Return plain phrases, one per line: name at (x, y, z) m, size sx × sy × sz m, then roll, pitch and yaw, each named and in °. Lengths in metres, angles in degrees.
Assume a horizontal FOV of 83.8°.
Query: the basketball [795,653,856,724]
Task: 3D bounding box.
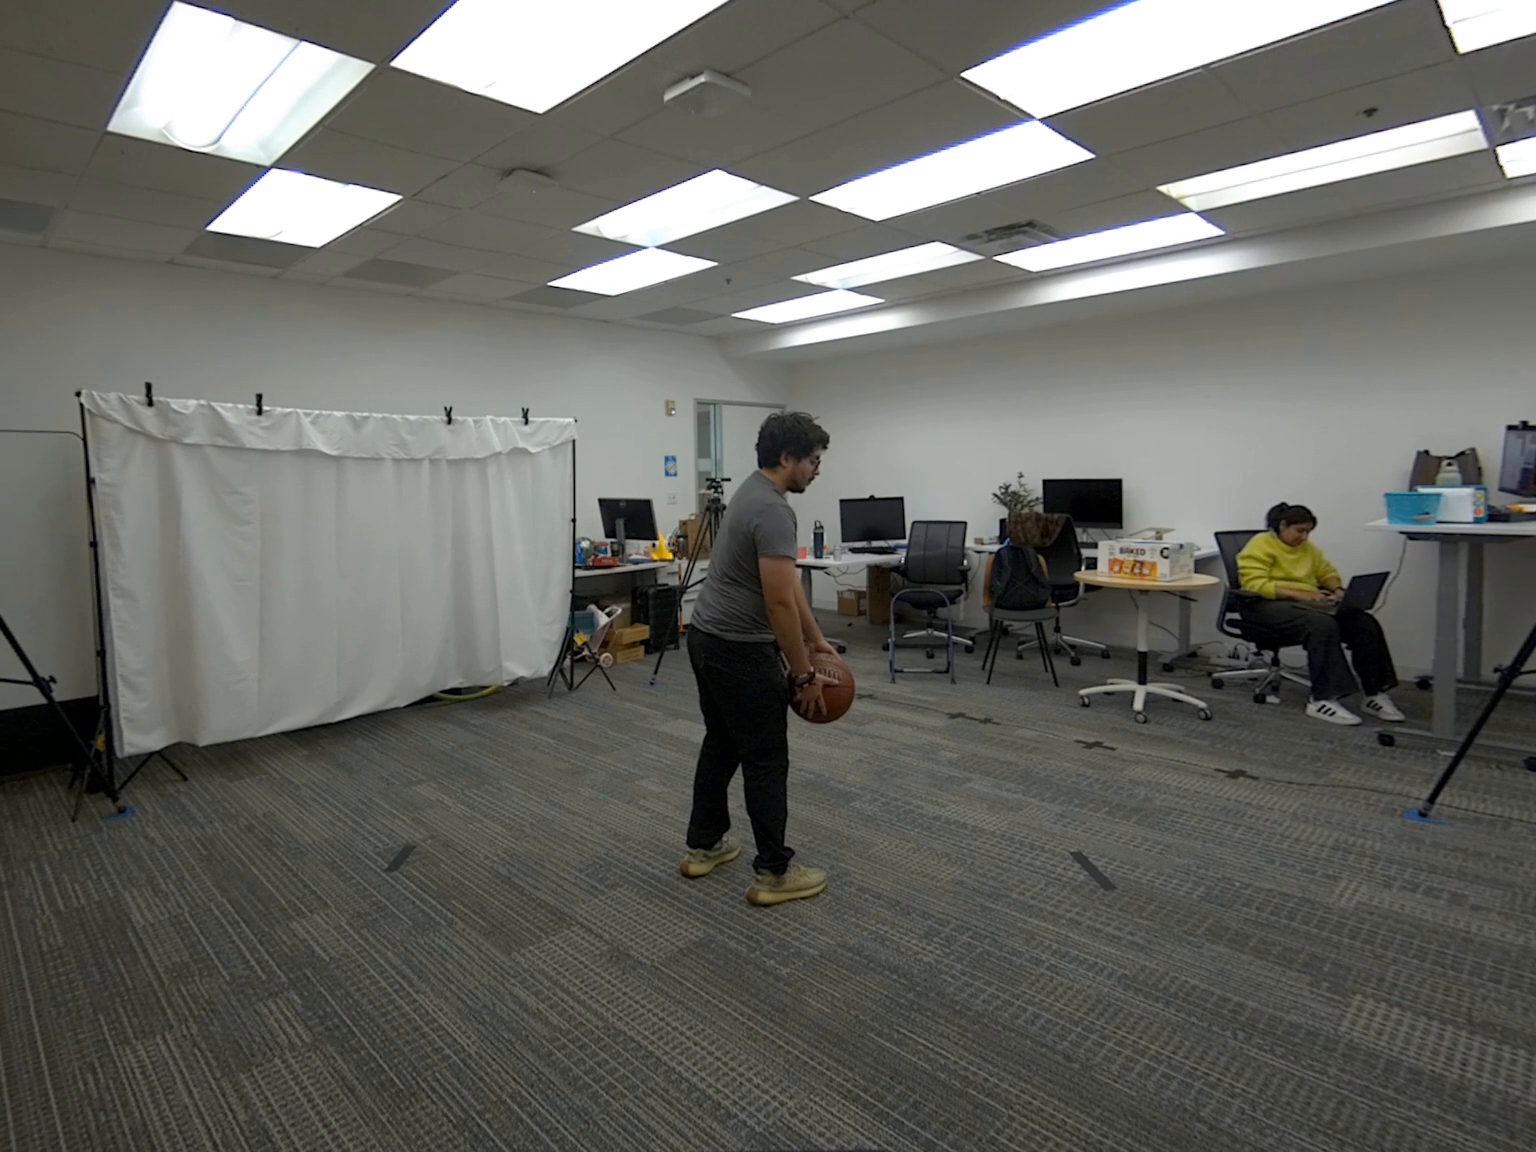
basketball at (0.180, 0.375, 2.920) m, size 0.236 × 0.235 × 0.237 m, roll -1°, pitch 5°, yaw -2°
